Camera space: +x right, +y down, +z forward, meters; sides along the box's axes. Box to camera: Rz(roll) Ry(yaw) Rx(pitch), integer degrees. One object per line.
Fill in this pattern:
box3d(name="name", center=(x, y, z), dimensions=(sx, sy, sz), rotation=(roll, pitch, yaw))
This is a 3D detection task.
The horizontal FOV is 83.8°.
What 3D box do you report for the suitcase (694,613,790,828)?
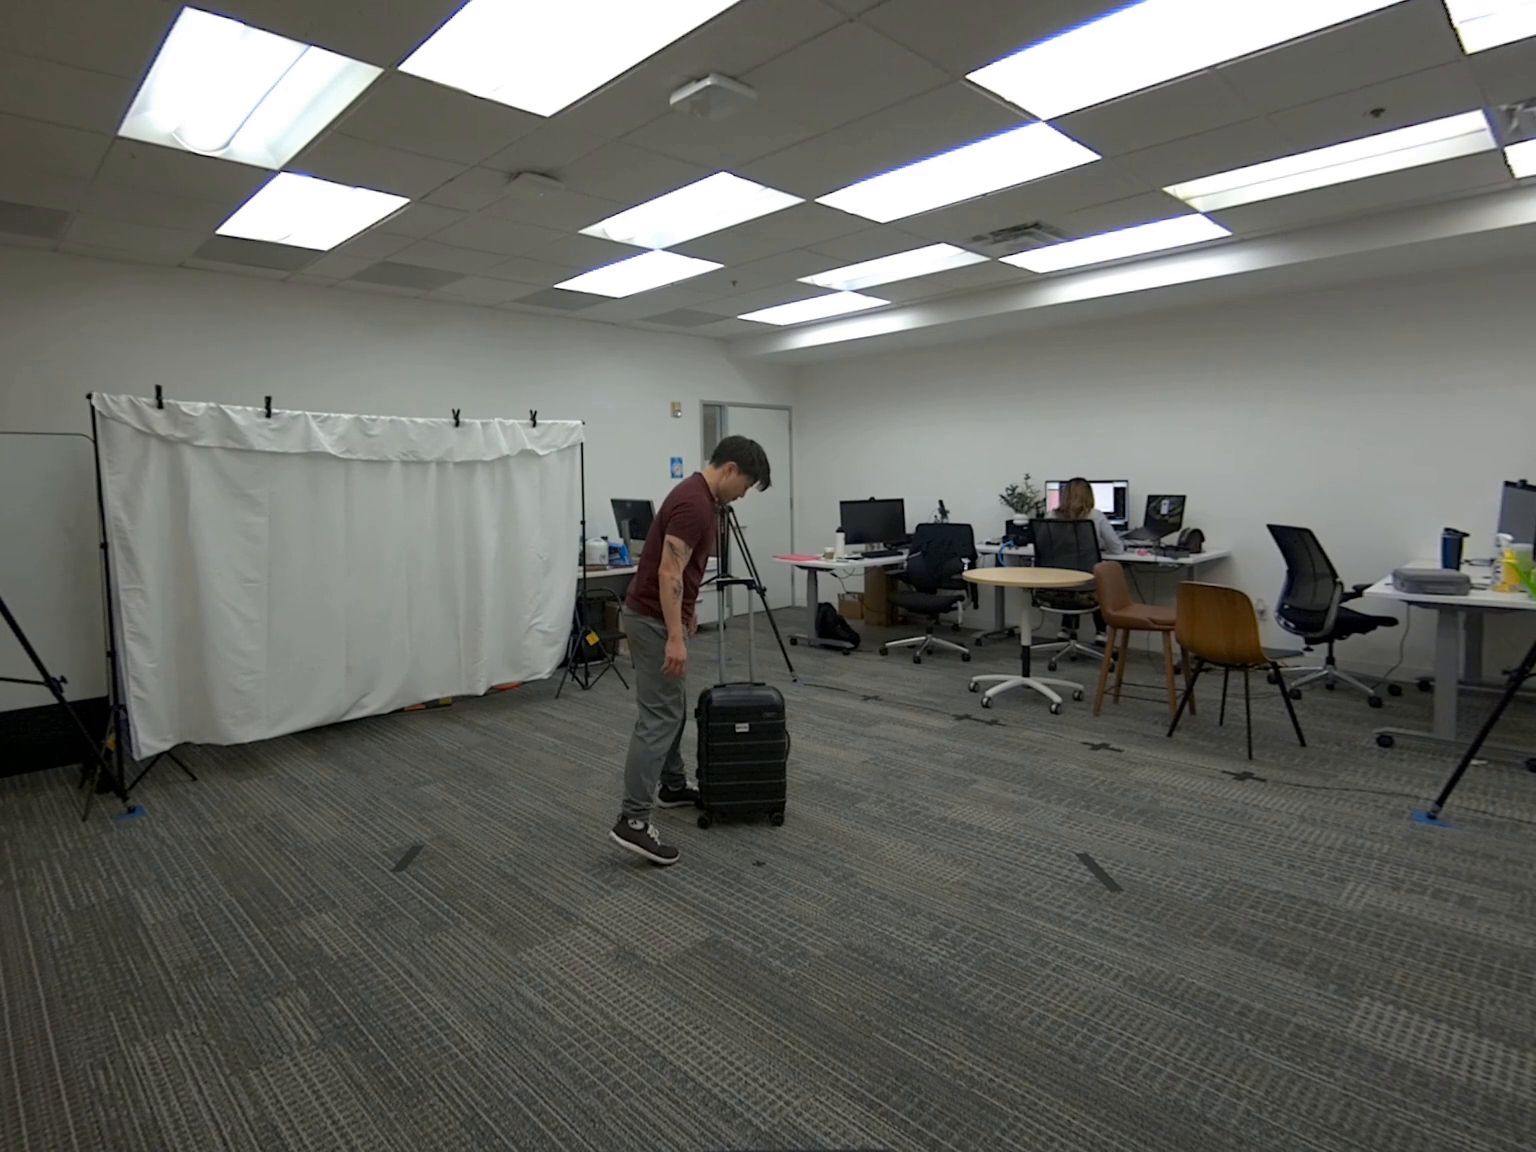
box3d(name="suitcase", center=(-0.107, 0.532, 3.527), dimensions=(0.382, 0.976, 0.259), rotation=(-1, 3, -5))
